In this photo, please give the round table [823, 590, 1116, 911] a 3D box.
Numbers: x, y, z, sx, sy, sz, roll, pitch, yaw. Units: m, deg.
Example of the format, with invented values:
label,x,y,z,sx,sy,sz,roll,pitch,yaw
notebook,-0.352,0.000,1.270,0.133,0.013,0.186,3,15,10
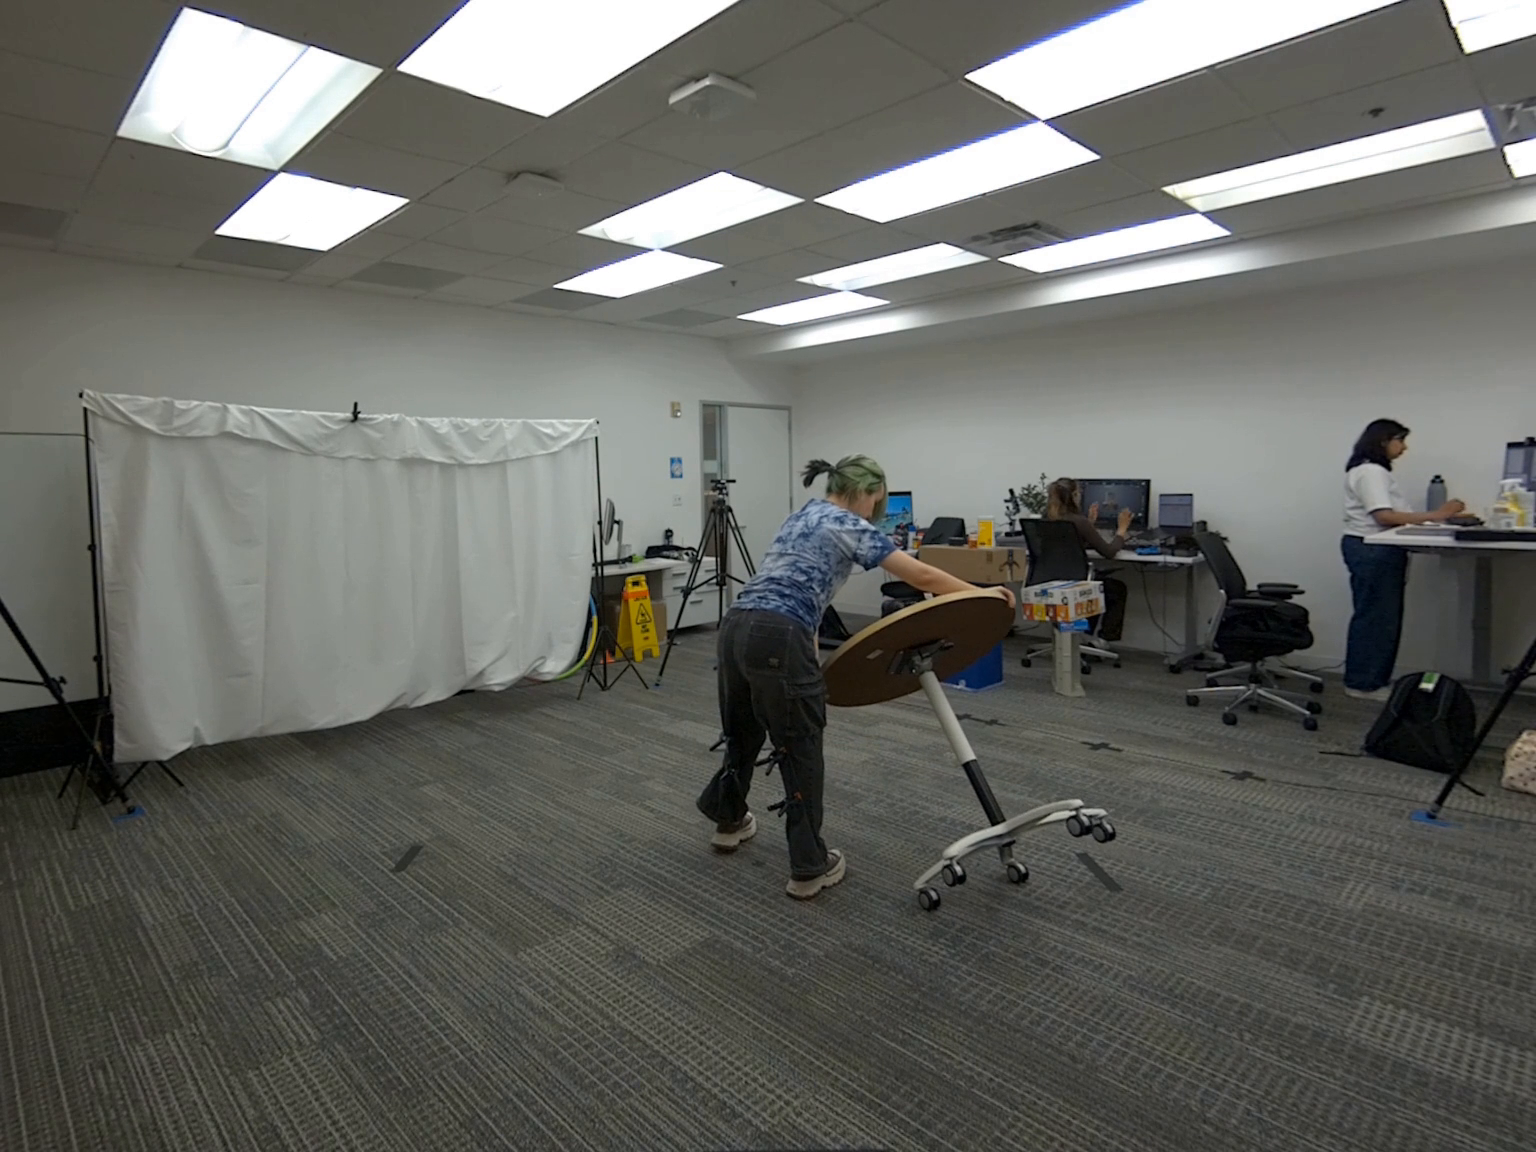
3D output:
label,x,y,z,sx,sy,sz,roll,pitch,yaw
round table,0.666,0.587,2.860,0.758,0.819,0.746,-15,-30,-11
